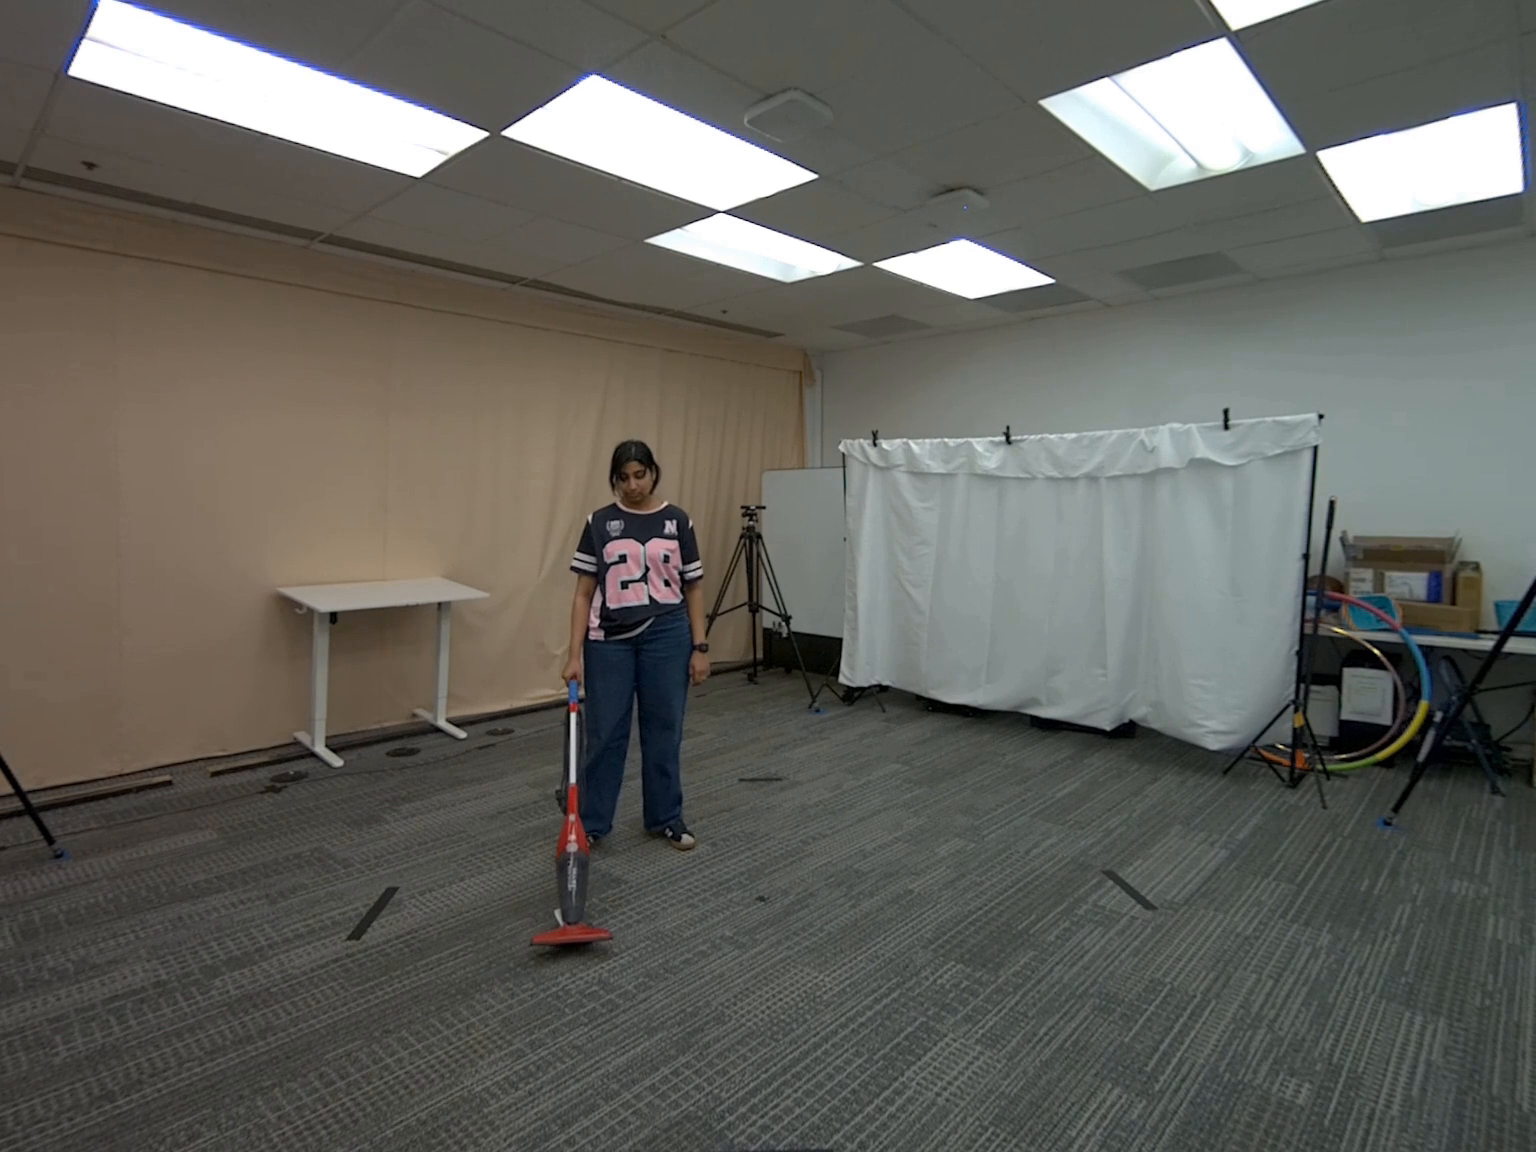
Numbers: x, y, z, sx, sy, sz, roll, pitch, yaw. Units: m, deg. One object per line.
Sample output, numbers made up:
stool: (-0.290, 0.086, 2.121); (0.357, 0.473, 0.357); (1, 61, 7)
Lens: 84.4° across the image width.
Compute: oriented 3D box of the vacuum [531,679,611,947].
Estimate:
vacuum: (-0.688, 0.764, 3.011); (0.250, 0.142, 1.074); (1, 45, -11)
